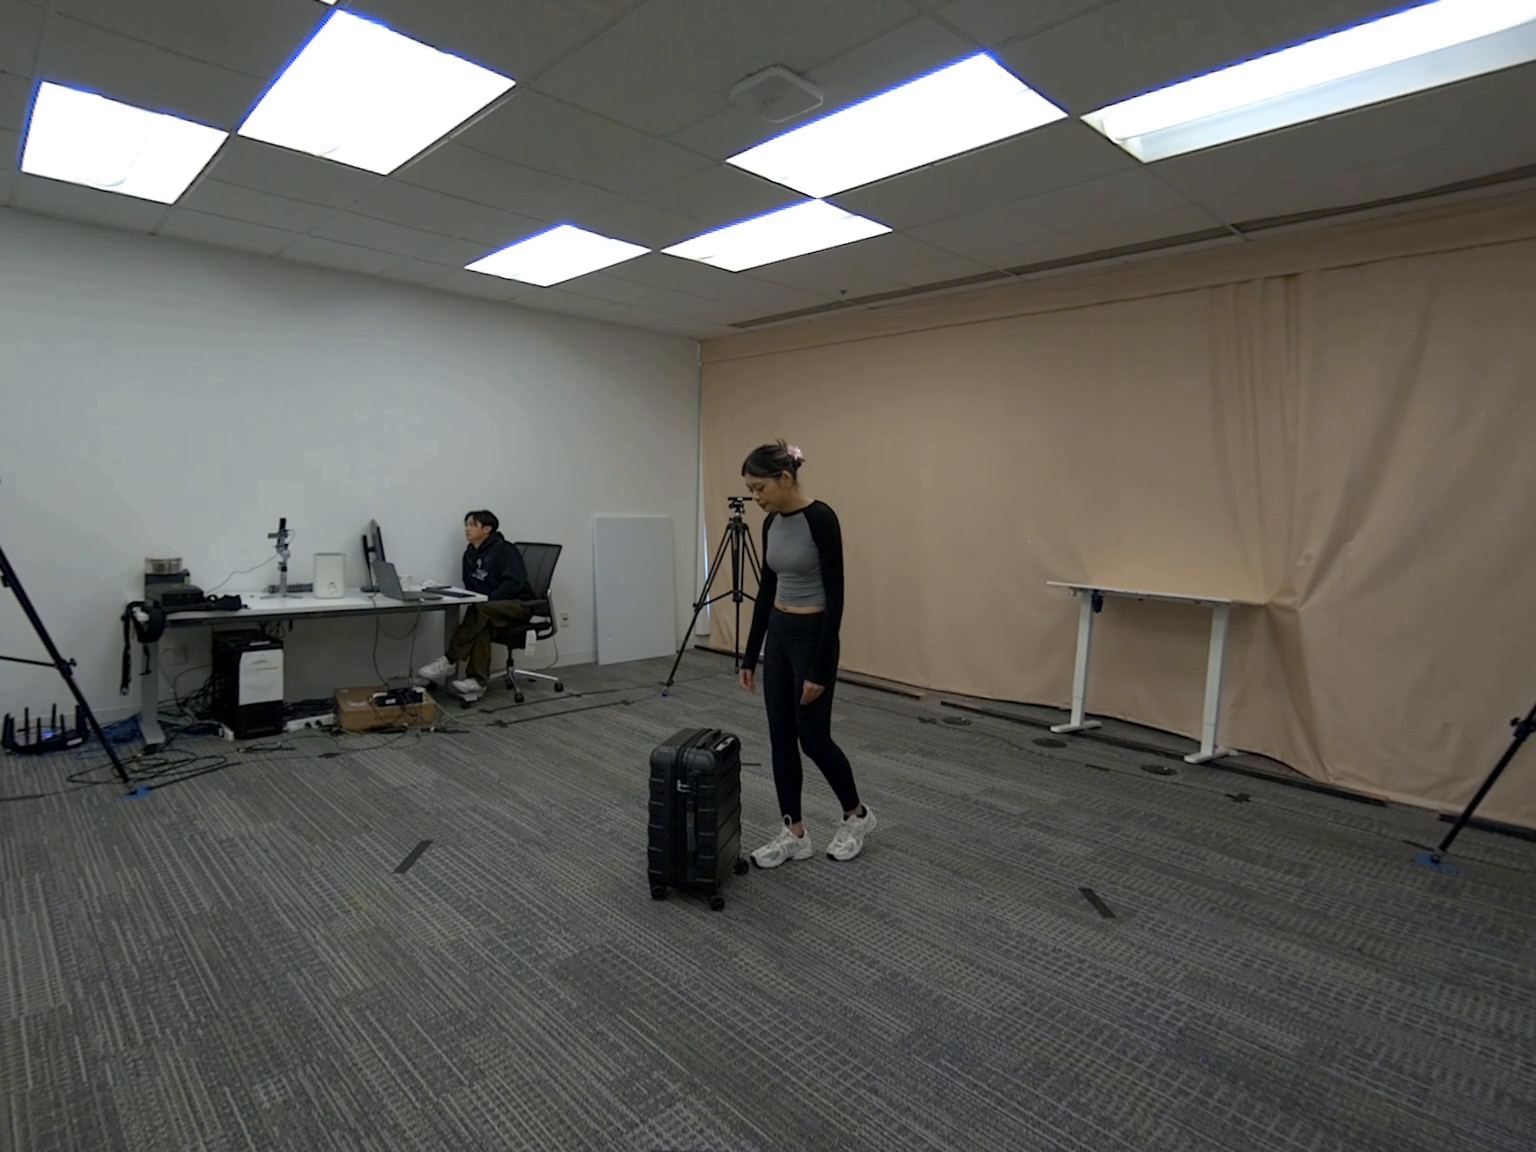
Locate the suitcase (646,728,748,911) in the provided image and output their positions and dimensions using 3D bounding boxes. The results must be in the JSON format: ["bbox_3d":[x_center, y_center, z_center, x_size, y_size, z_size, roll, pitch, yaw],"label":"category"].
[{"bbox_3d":[-0.263,0.838,3.004,0.252,0.548,0.371,0,4,18],"label":"suitcase"}]
